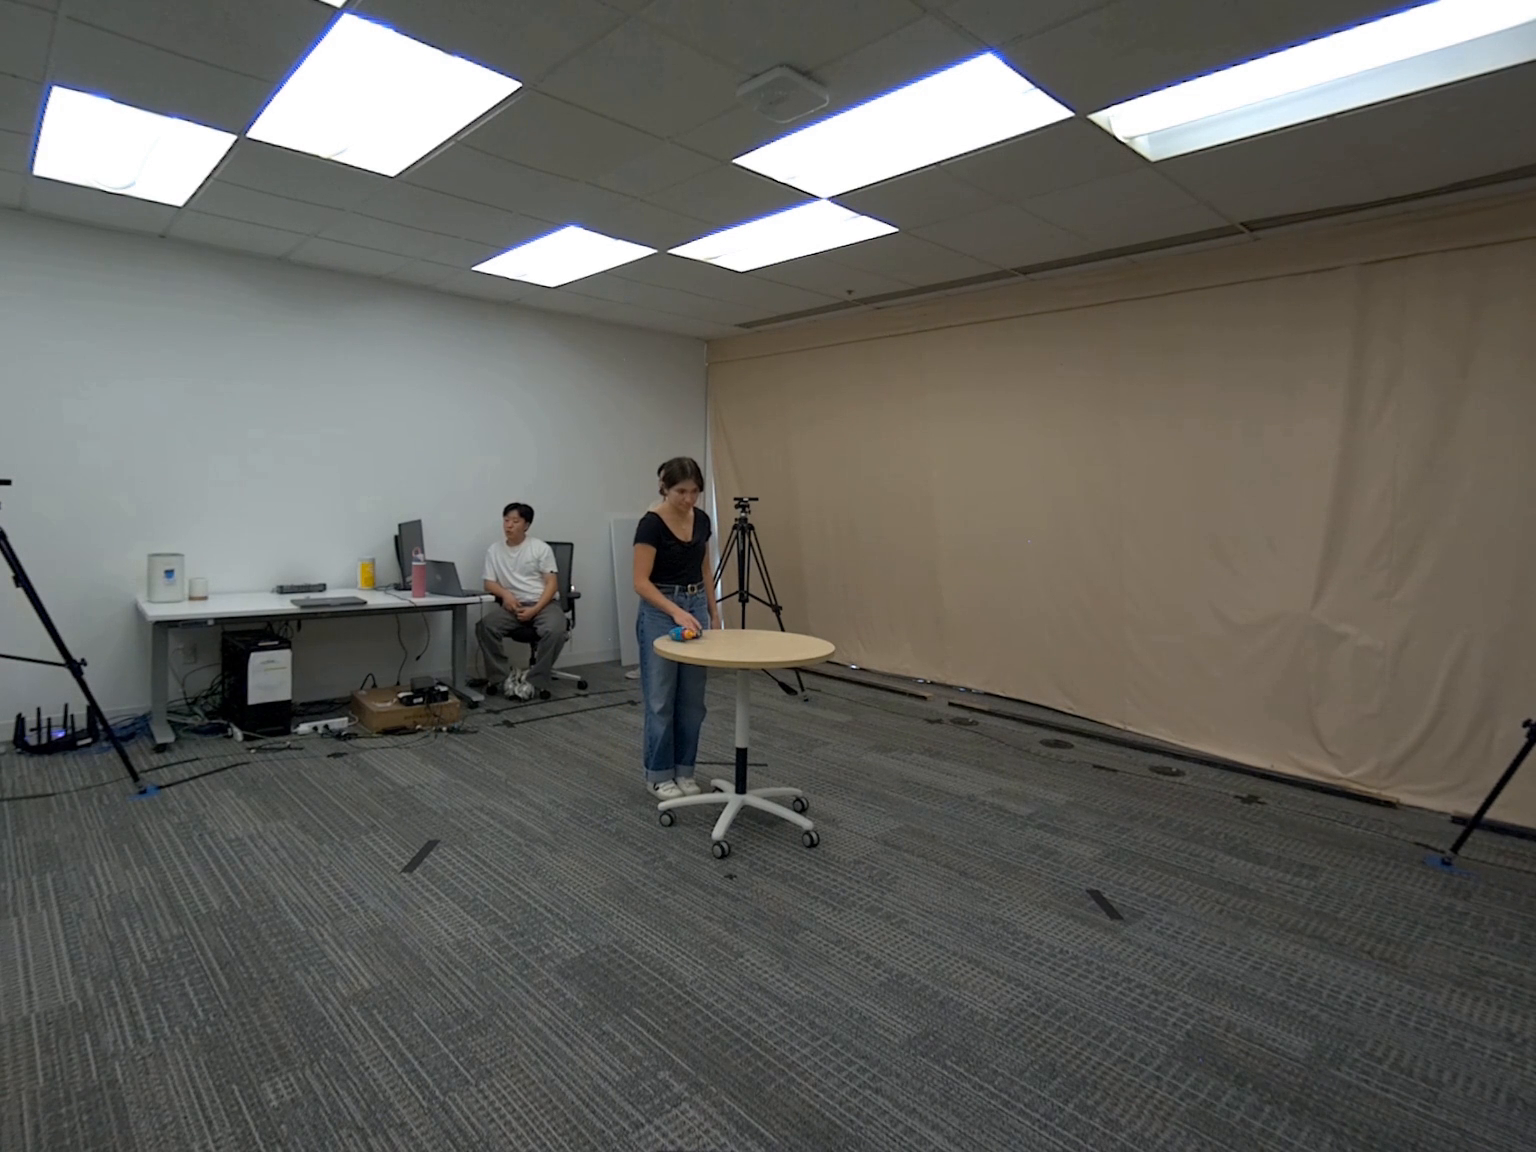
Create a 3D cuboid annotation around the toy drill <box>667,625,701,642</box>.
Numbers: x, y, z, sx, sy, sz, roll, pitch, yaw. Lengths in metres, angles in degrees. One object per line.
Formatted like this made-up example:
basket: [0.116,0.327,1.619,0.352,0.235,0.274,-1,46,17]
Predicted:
toy drill: [-0.356,0.248,3.594,0.143,0.061,0.173,-1,-3,-40]
